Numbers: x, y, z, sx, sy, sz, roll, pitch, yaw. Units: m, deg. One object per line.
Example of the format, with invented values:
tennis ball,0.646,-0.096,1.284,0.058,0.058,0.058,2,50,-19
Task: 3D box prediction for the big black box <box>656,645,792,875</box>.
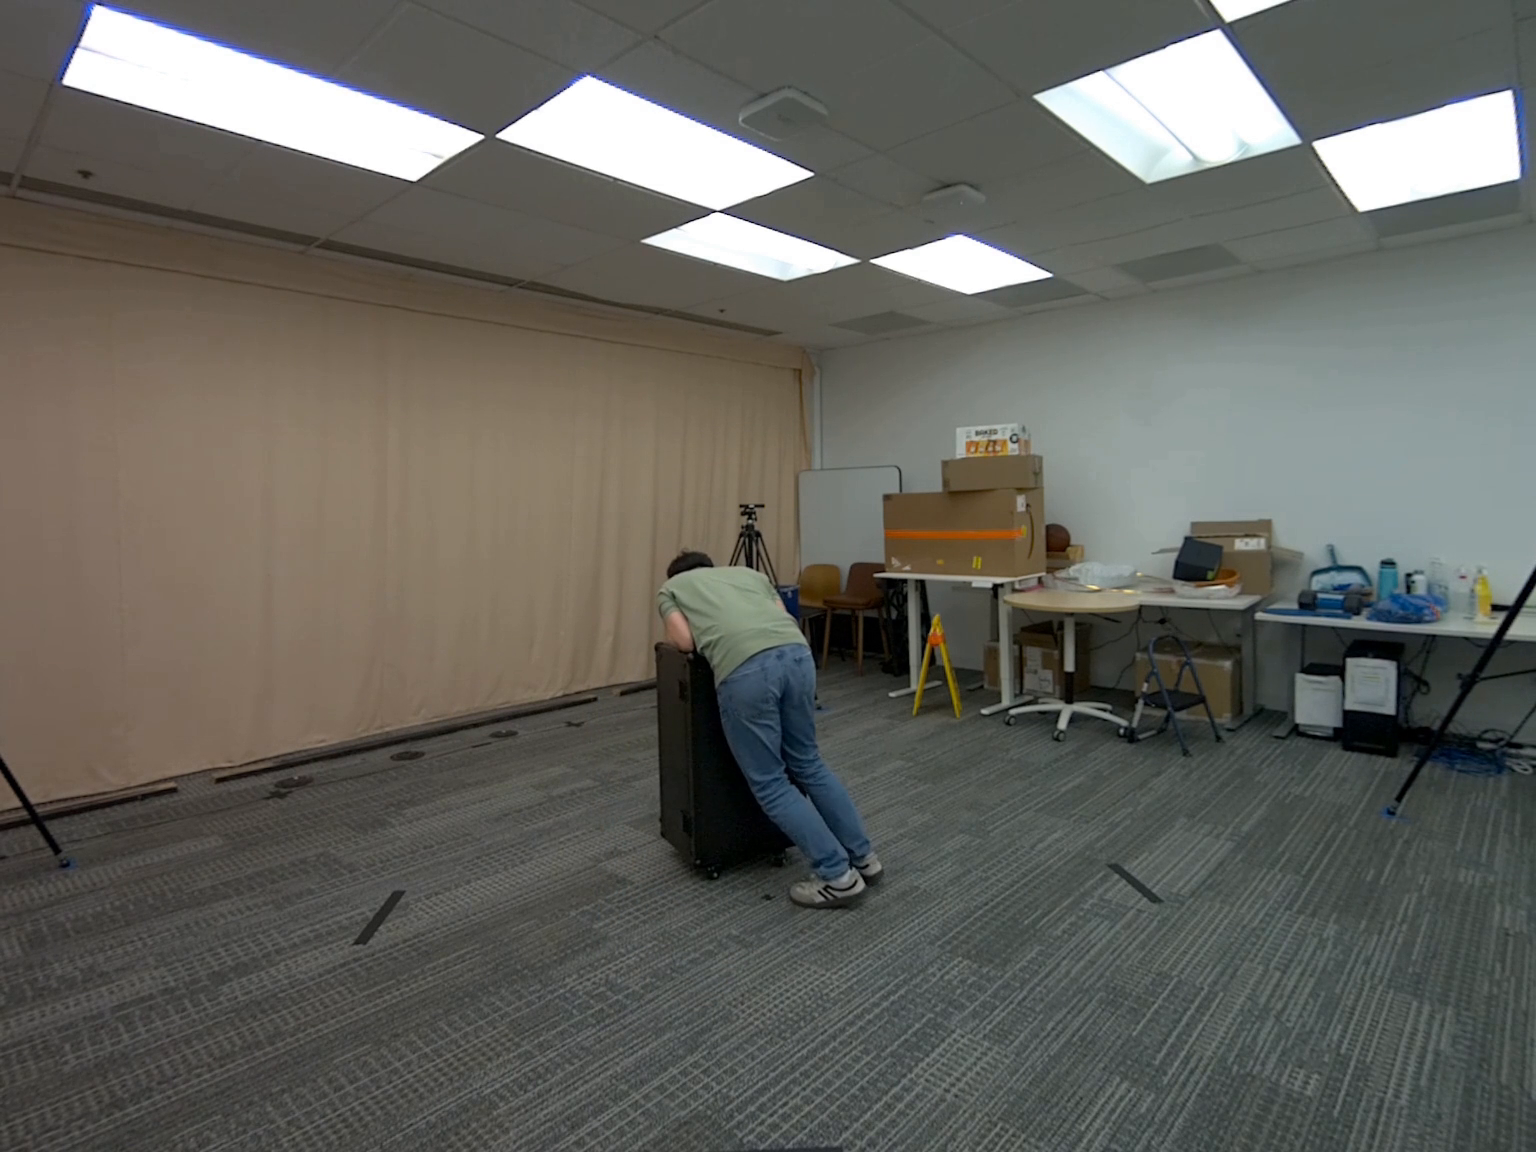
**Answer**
big black box,-0.157,0.690,3.324,0.509,0.860,0.406,-3,2,-25
